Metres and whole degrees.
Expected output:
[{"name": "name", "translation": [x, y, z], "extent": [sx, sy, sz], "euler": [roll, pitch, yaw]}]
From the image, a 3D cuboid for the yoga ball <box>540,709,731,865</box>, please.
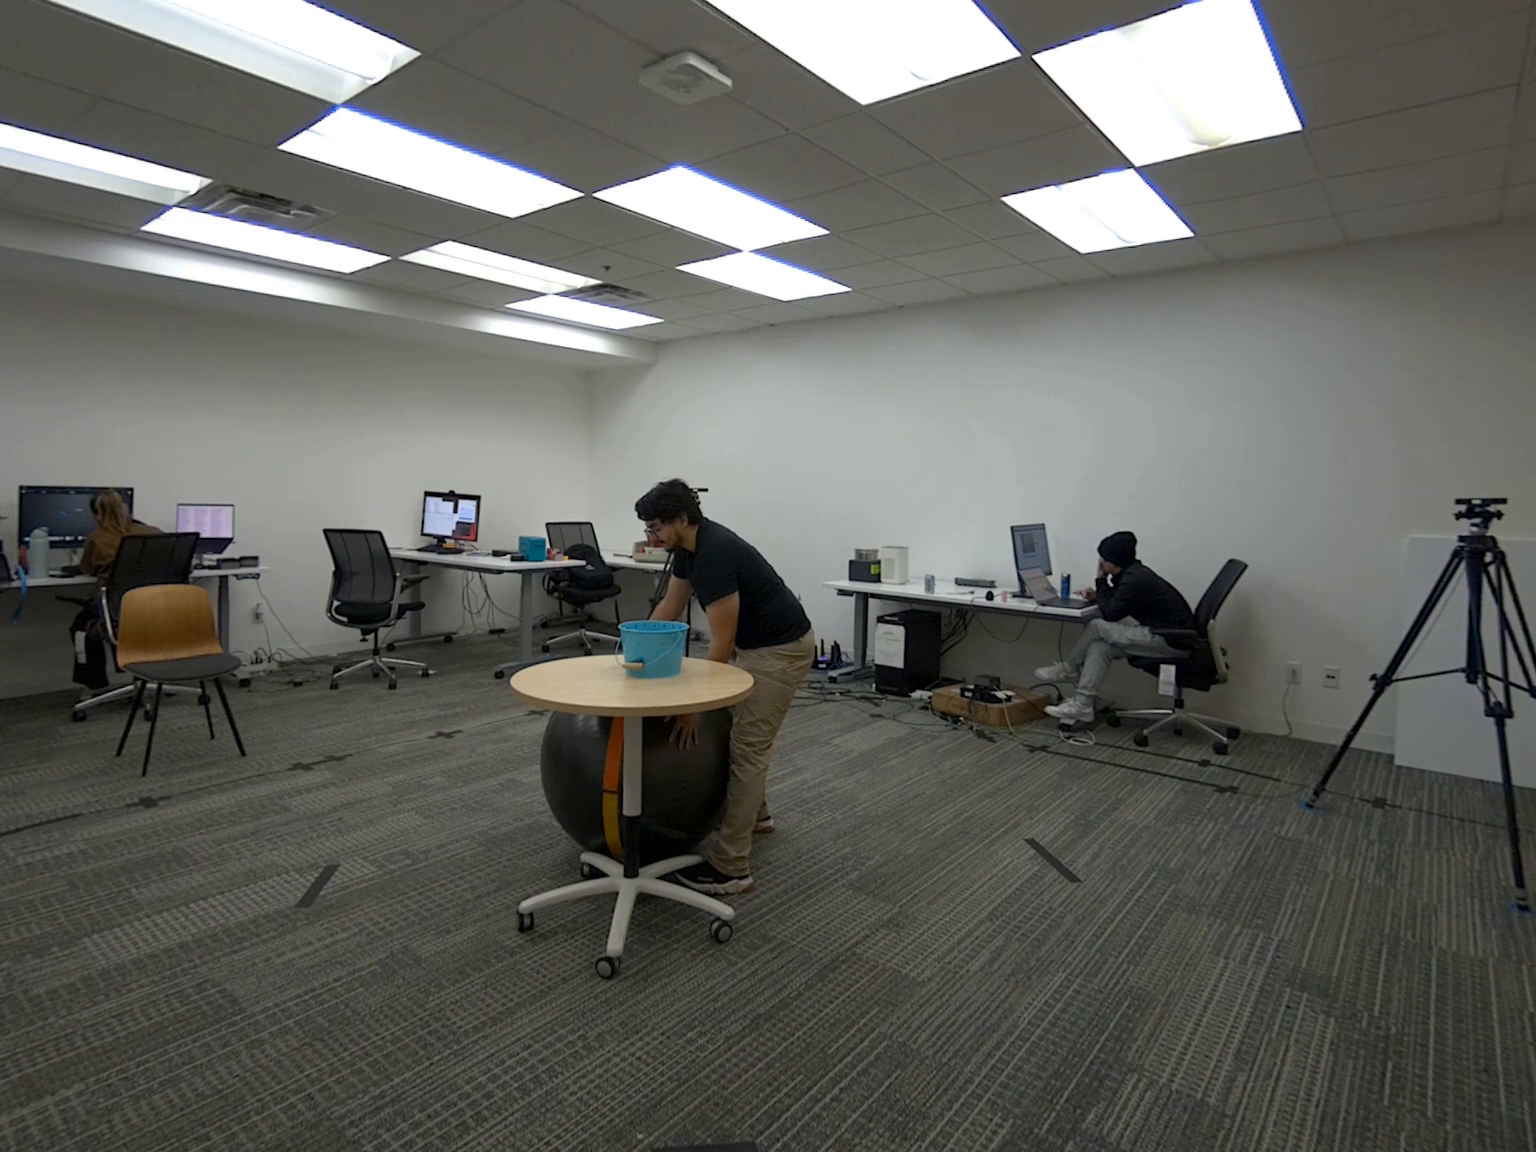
[{"name": "yoga ball", "translation": [-0.503, 0.696, 3.255], "extent": [0.757, 0.755, 0.762], "euler": [1, 4, -2]}]
